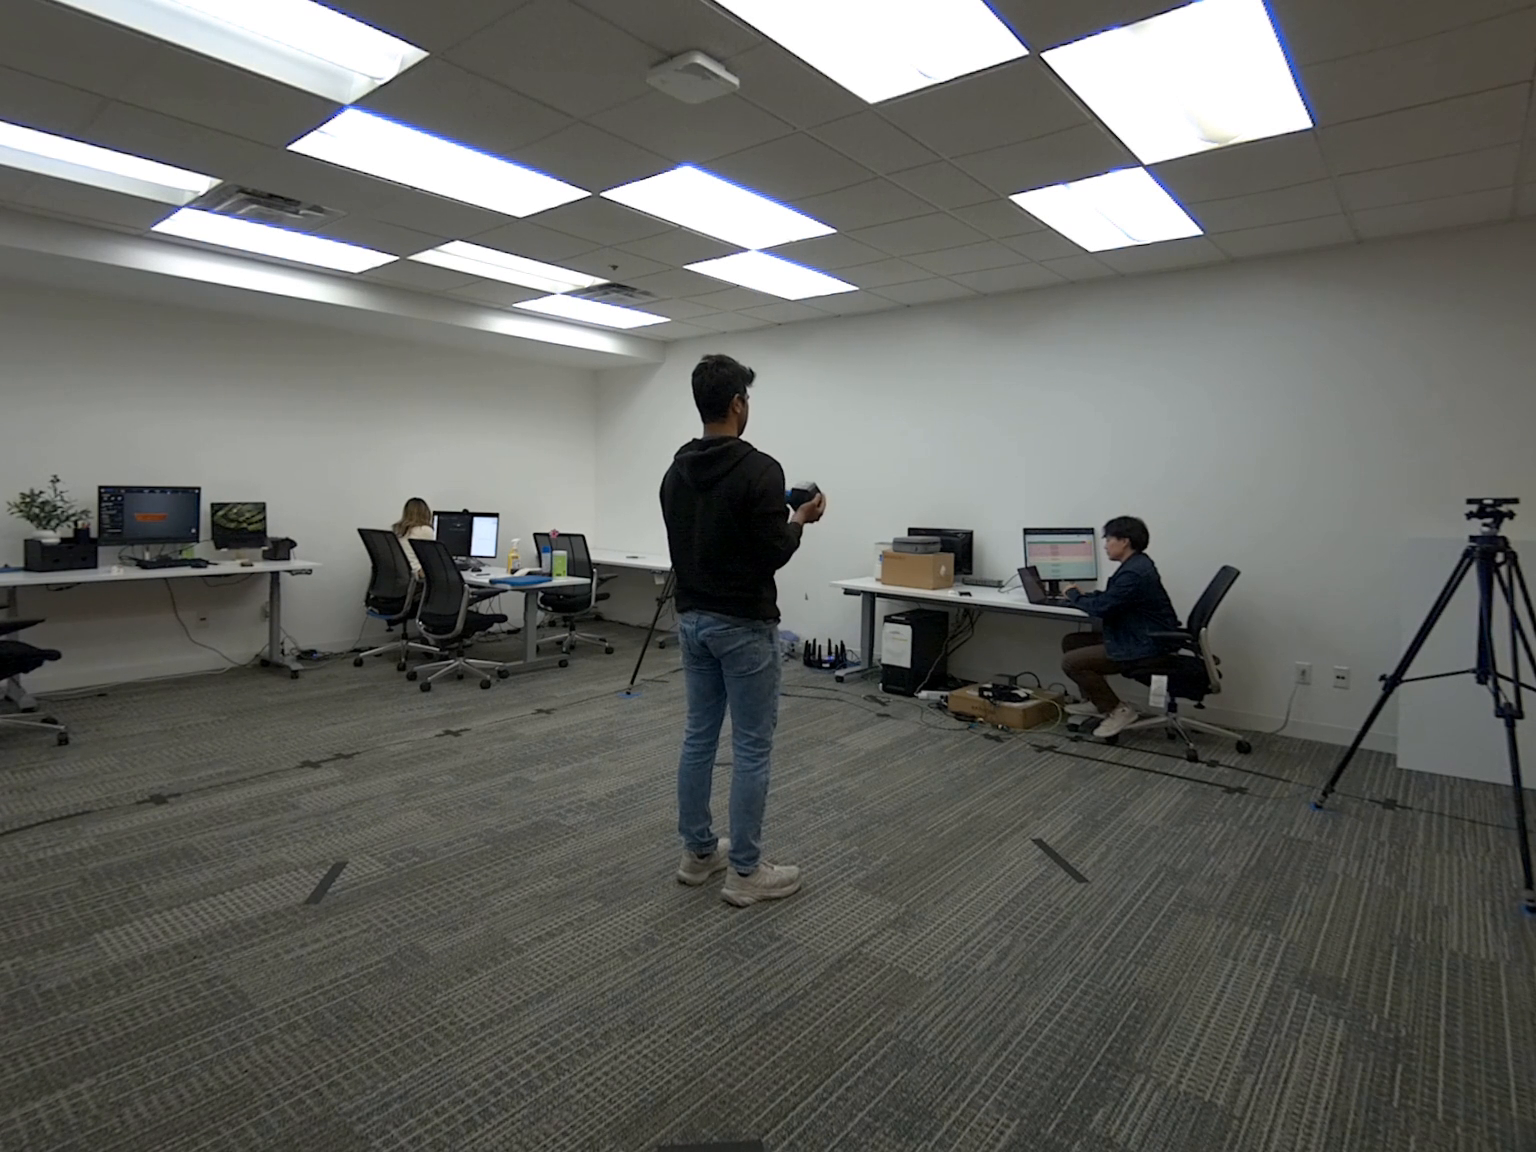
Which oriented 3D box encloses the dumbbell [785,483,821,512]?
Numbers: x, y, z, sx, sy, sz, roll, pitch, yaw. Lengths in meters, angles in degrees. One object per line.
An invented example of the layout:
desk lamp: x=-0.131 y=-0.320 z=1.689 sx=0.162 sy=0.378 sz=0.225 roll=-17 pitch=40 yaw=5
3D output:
dumbbell: x=0.034 y=-0.283 z=3.115 sx=0.304 sy=0.109 sz=0.118 roll=11 pitch=-26 yaw=37
